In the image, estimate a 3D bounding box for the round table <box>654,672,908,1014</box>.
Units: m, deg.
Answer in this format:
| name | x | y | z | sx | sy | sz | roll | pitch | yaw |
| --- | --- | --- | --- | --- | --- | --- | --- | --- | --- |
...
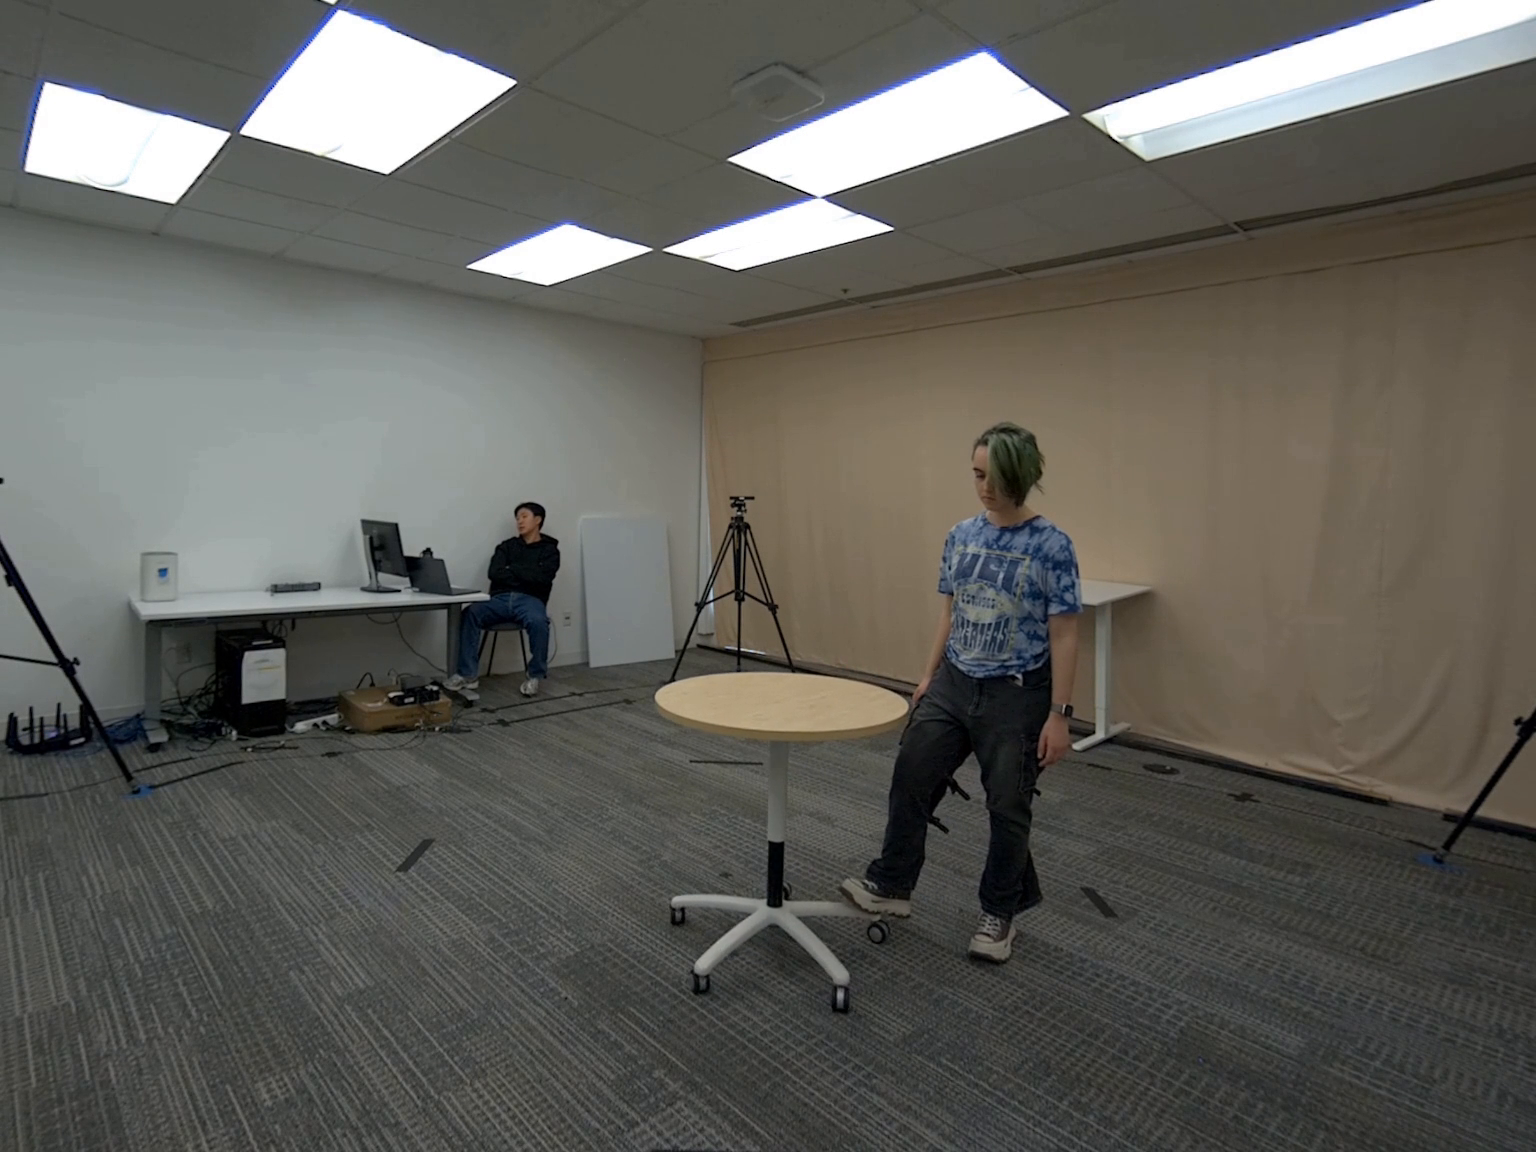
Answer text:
| name | x | y | z | sx | sy | sz | roll | pitch | yaw |
| --- | --- | --- | --- | --- | --- | --- | --- | --- | --- |
| round table | 0.024 | 0.766 | 2.585 | 0.763 | 0.792 | 0.766 | 1 | 4 | -1 |
